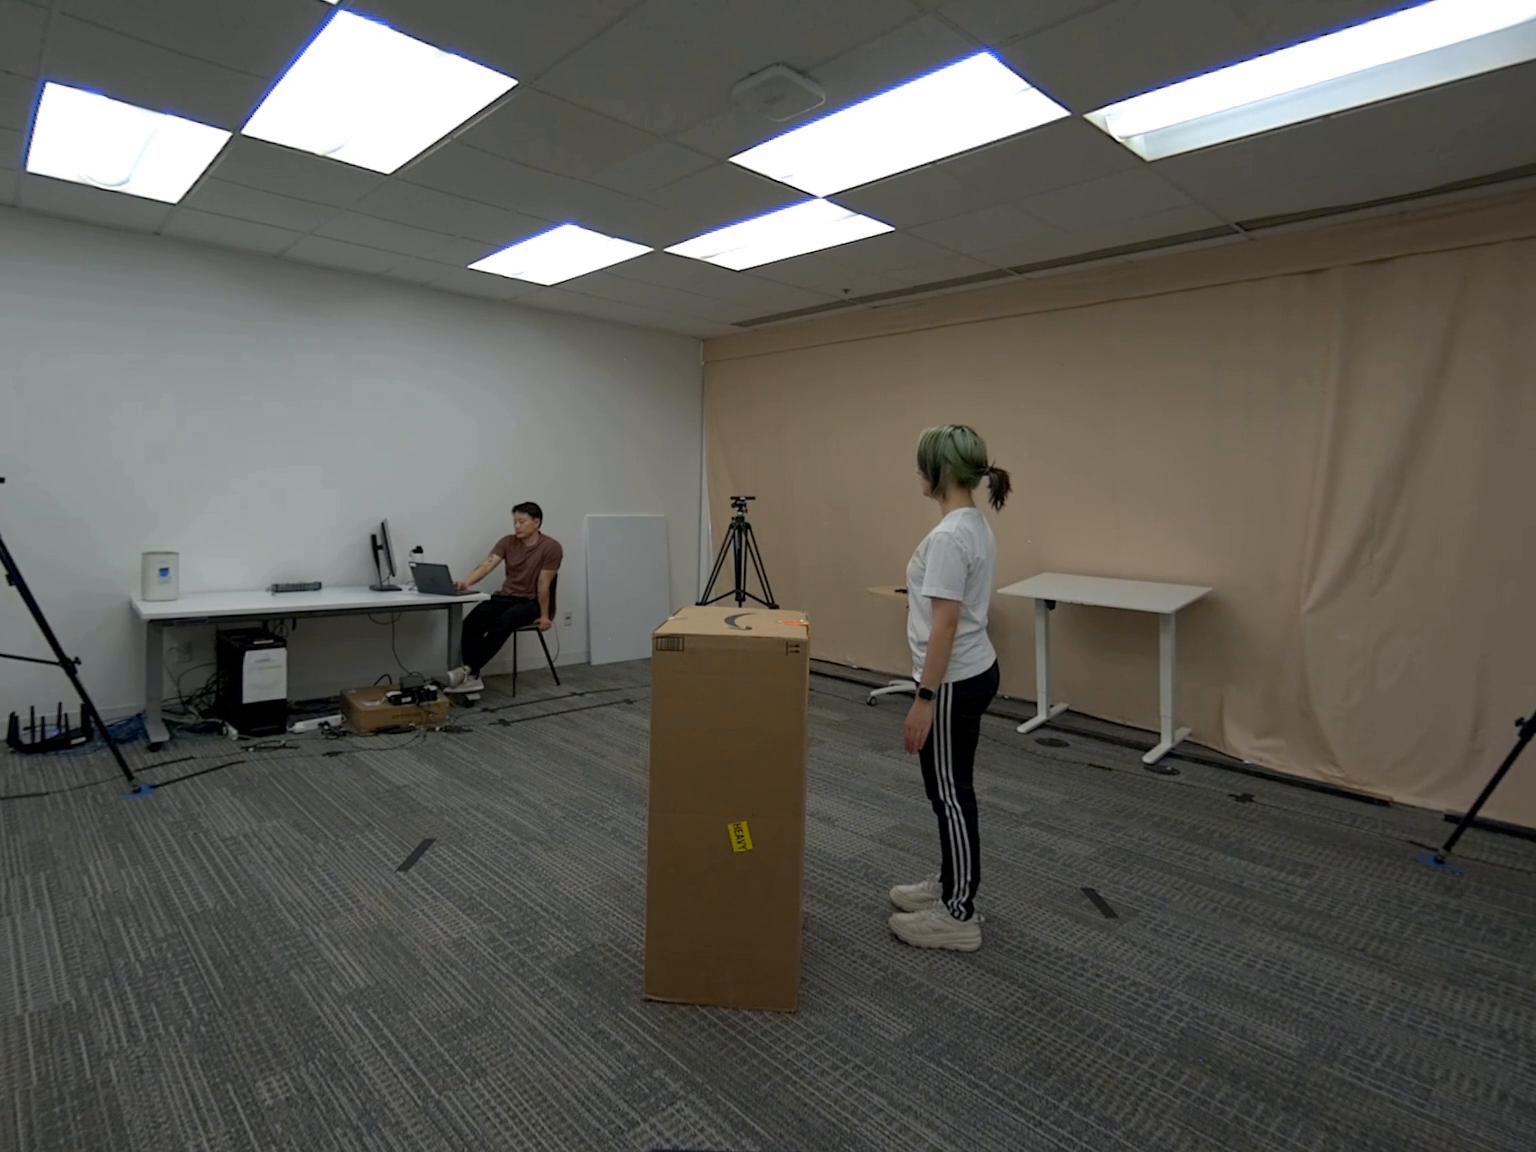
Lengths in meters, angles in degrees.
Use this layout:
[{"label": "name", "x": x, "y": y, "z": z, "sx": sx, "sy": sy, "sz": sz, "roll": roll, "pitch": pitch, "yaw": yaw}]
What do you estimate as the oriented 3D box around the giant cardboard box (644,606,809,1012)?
[{"label": "giant cardboard box", "x": -0.107, "y": 0.650, "z": 2.547, "sx": 0.428, "sy": 1.023, "sz": 0.577, "roll": 1, "pitch": 3, "yaw": 3}]
